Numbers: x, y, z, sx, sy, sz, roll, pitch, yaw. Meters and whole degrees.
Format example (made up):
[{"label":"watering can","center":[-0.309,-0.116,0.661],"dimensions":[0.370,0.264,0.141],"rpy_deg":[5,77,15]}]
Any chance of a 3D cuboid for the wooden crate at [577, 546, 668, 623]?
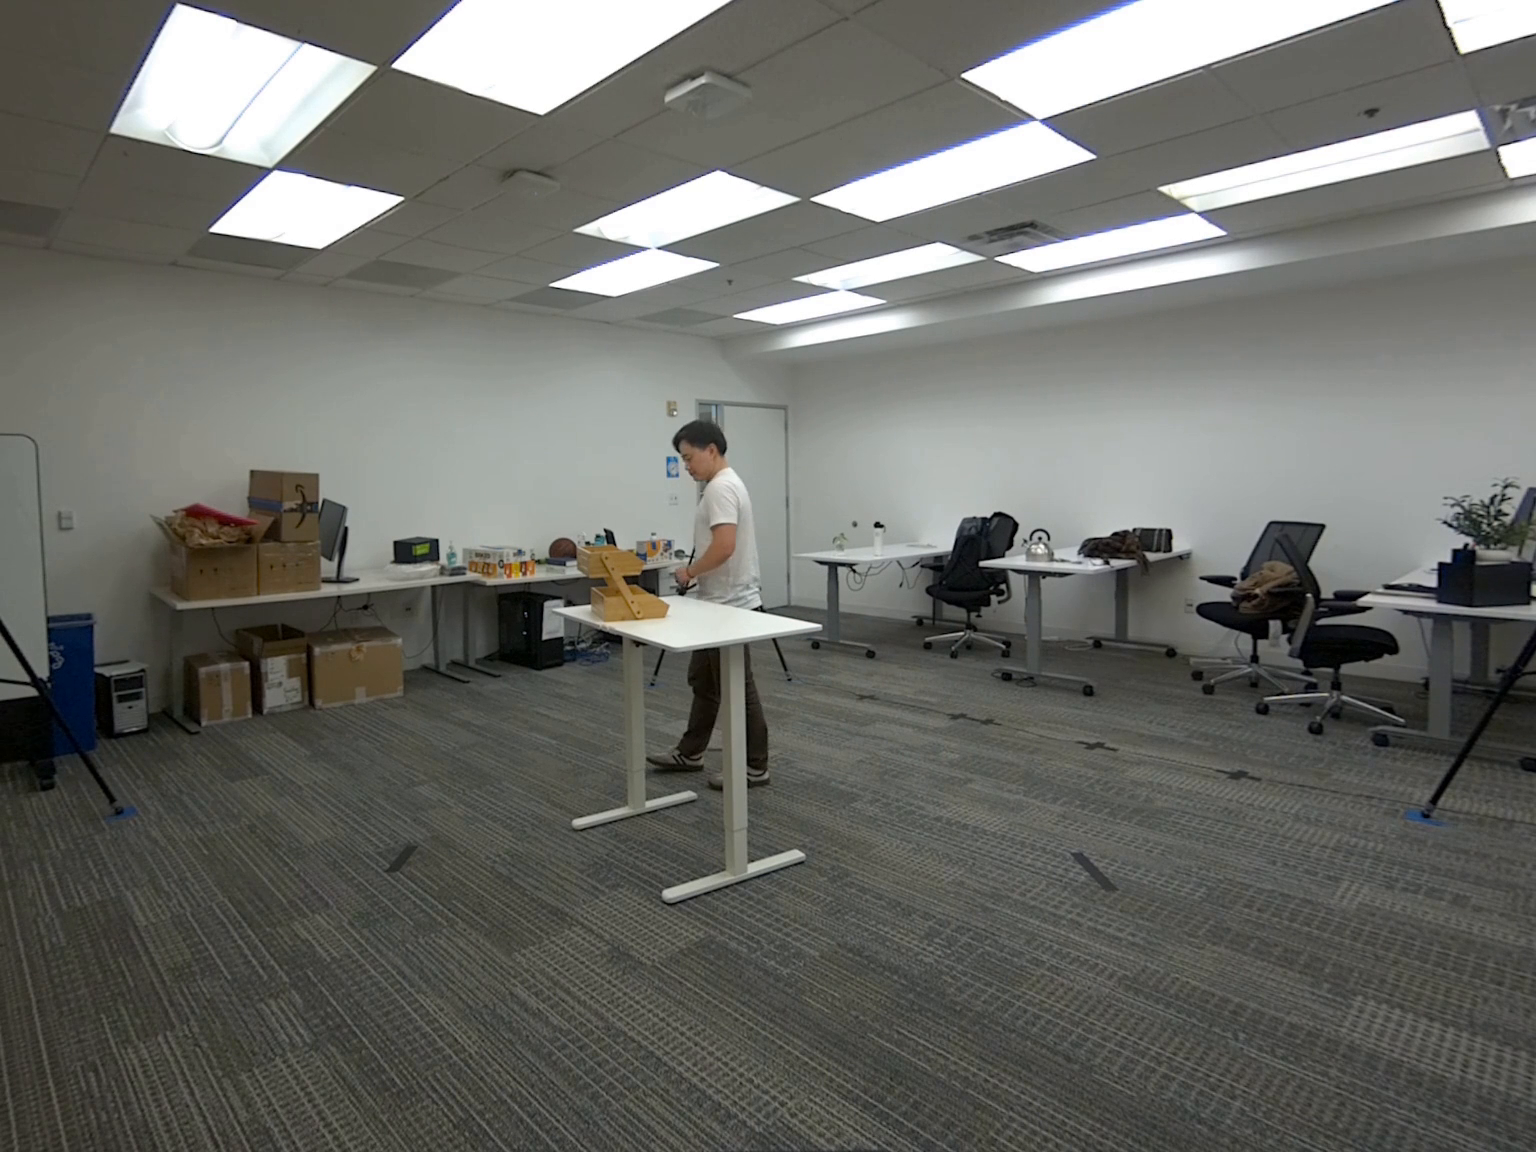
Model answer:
[{"label":"wooden crate","center":[-0.566,0.016,3.321],"dimensions":[0.297,0.272,0.331],"rpy_deg":[-4,6,-20]}]
